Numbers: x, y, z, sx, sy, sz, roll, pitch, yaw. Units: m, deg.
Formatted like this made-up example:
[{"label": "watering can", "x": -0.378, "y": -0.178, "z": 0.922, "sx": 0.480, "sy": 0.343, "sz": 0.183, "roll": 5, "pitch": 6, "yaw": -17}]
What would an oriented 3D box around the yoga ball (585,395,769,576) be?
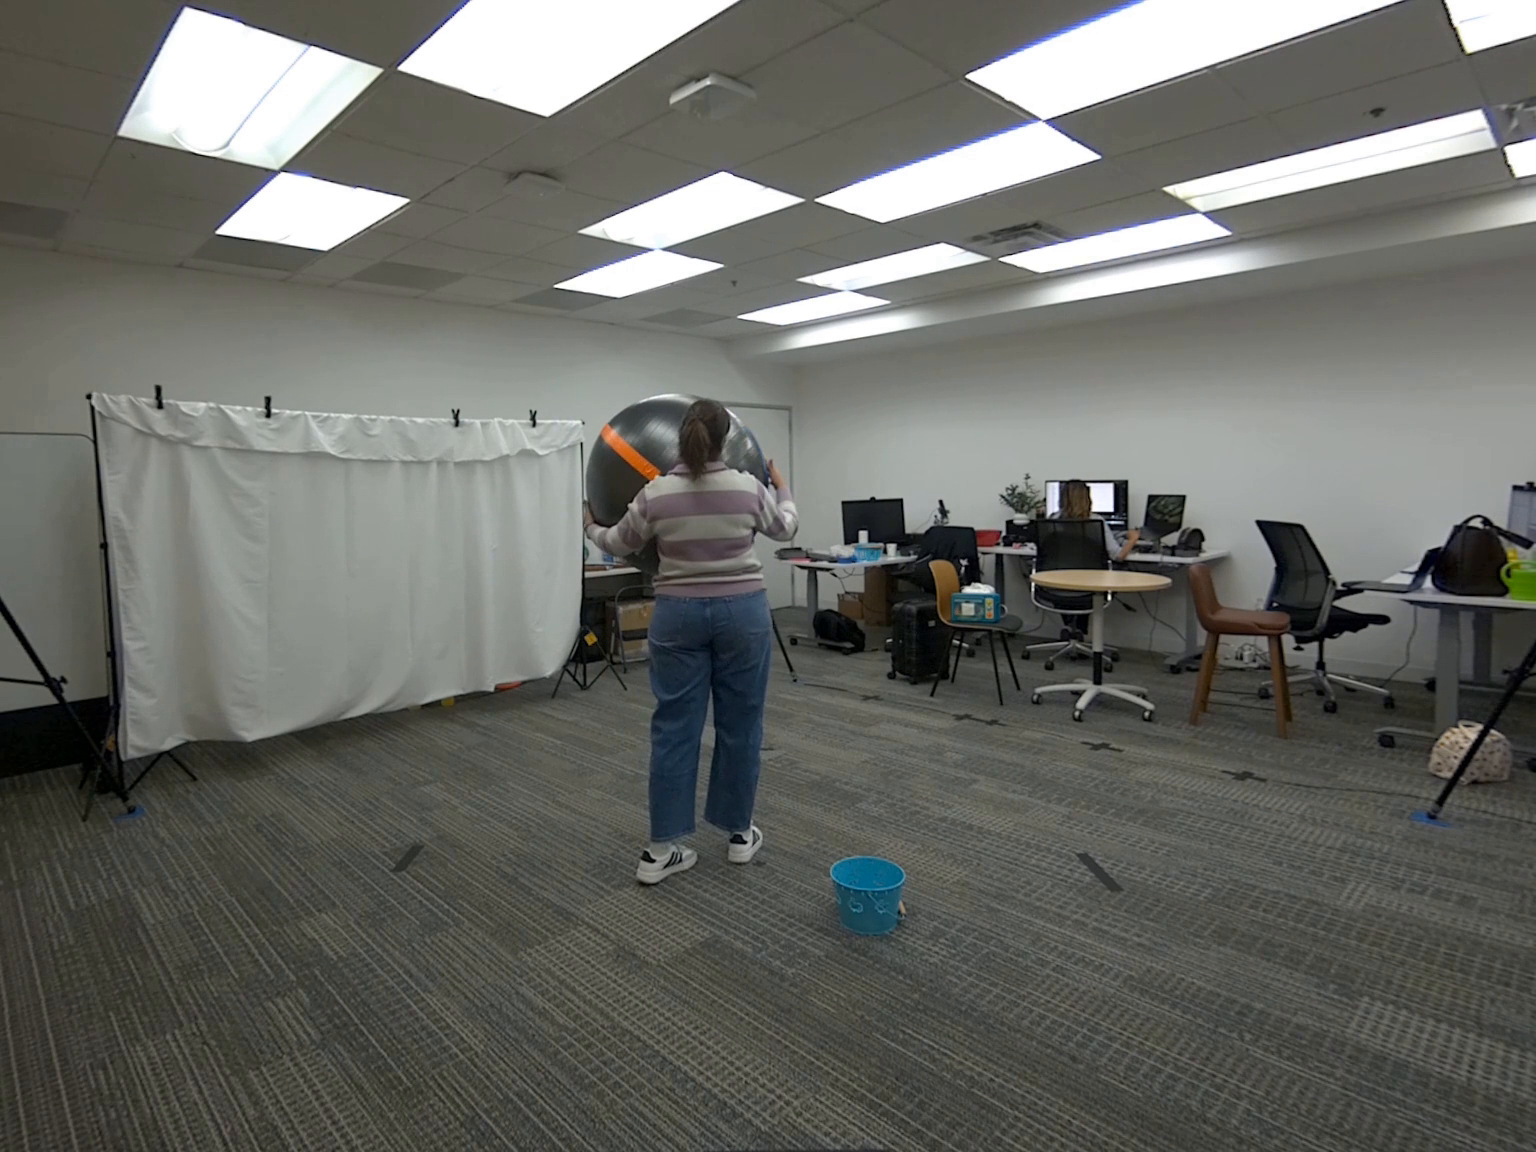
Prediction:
[{"label": "yoga ball", "x": -0.374, "y": -0.365, "z": 3.537, "sx": 0.757, "sy": 0.755, "sz": 0.762, "roll": -1, "pitch": 5, "yaw": -2}]
